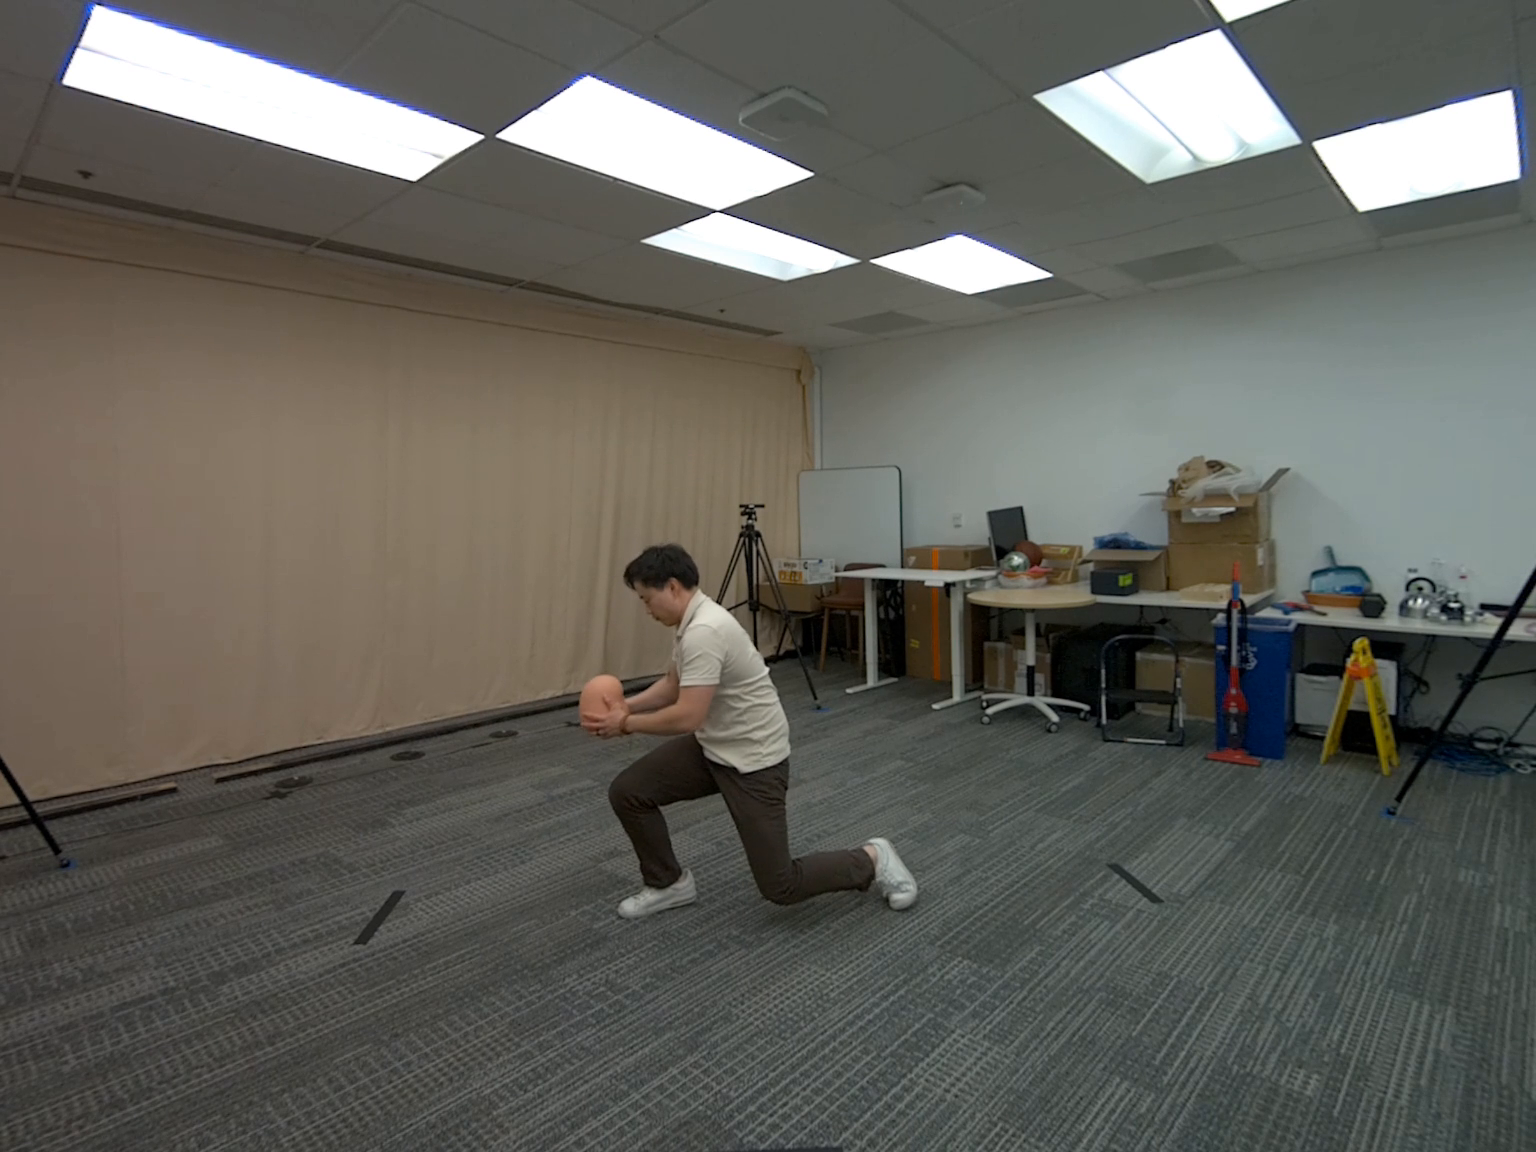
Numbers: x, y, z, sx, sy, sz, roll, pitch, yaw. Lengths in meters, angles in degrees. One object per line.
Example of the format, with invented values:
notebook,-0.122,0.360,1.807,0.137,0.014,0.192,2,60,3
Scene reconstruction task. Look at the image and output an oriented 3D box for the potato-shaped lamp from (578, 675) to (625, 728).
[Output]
potato-shaped lamp,-0.528,0.432,2.869,0.171,0.198,0.165,0,-2,-2
